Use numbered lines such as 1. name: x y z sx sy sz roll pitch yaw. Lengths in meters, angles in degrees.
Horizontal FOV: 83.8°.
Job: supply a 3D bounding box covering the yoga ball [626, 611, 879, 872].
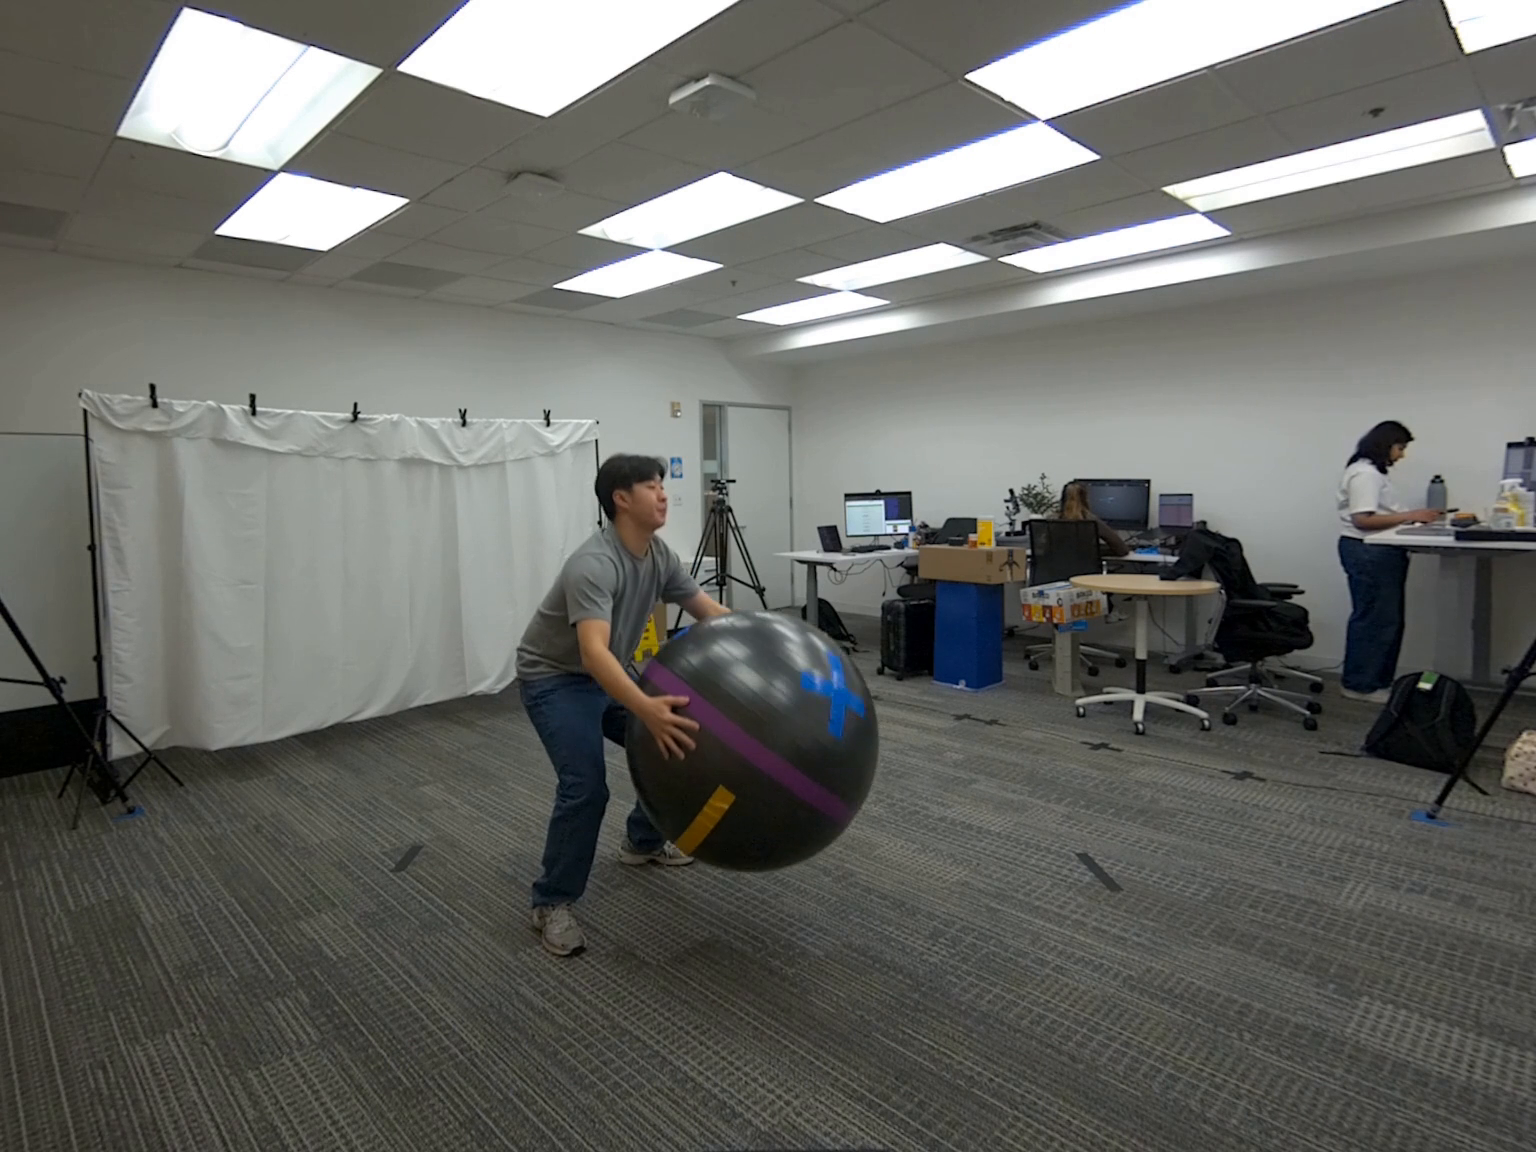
1. yoga ball: -0.048 0.475 2.557 0.757 0.755 0.762 -1 5 -2
